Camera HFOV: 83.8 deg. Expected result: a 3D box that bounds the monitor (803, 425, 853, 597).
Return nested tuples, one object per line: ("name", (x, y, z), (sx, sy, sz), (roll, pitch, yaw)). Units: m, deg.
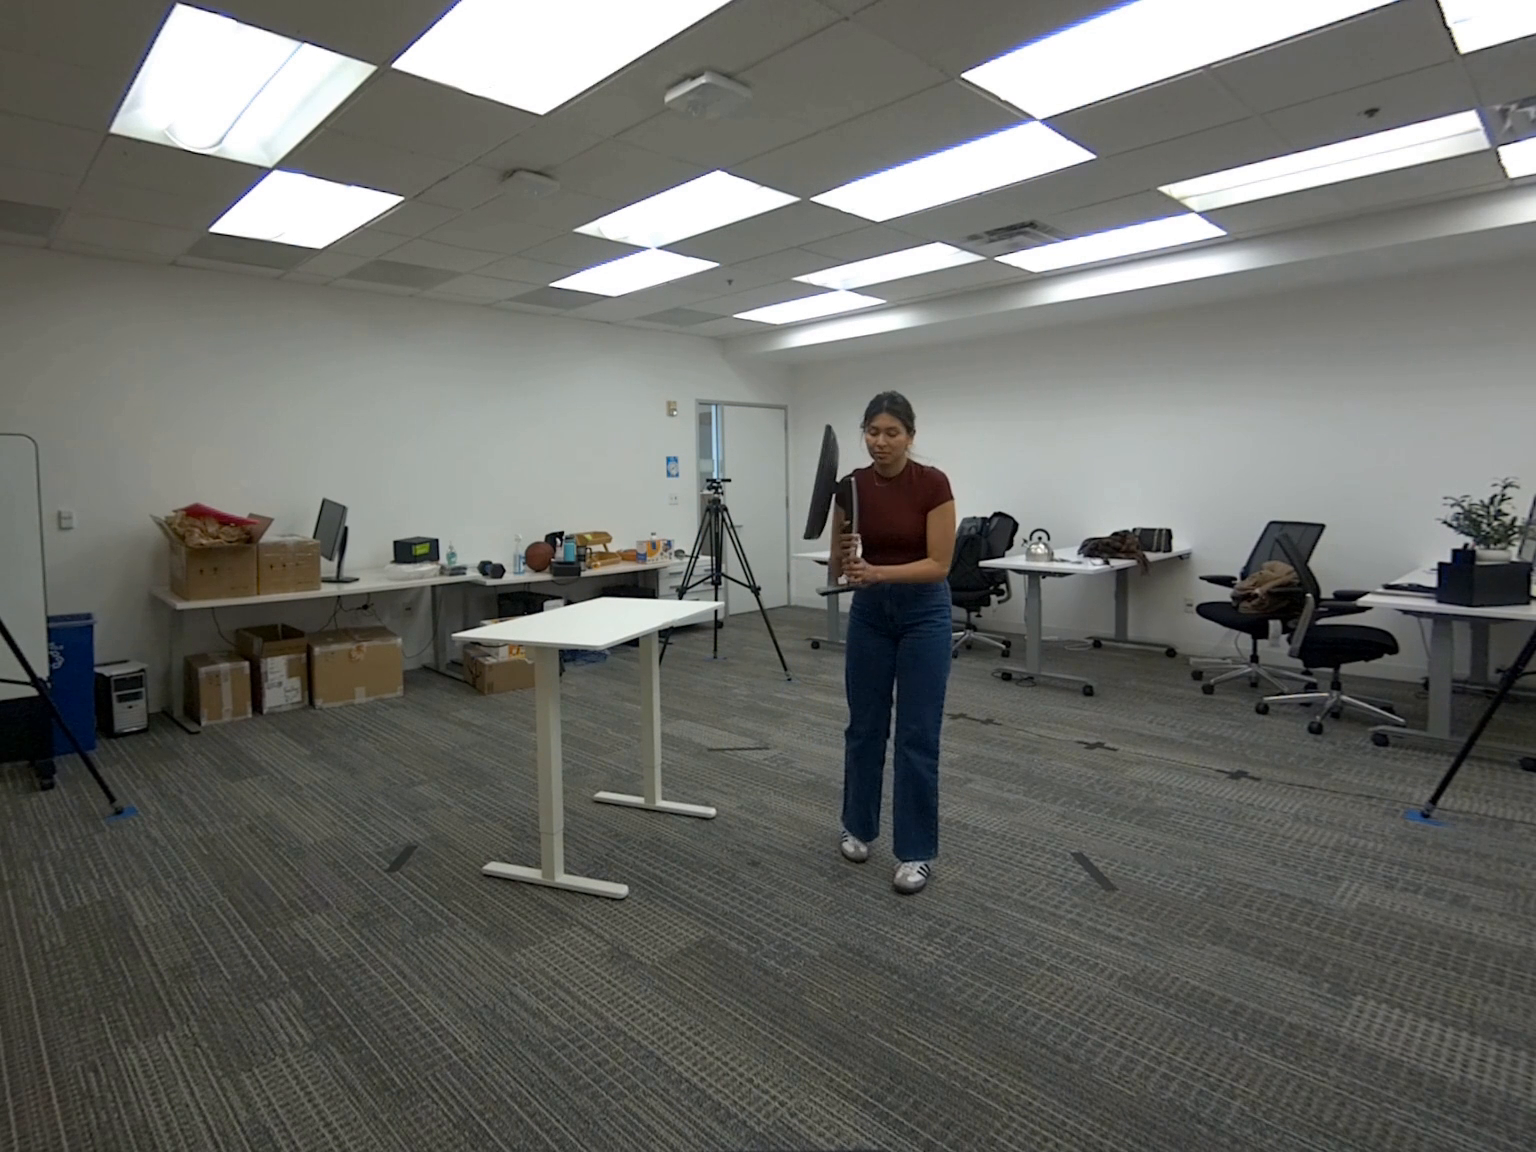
("monitor", (0.223, -0.207, 2.814), (0.188, 0.523, 0.536), (-5, 1, 5))
